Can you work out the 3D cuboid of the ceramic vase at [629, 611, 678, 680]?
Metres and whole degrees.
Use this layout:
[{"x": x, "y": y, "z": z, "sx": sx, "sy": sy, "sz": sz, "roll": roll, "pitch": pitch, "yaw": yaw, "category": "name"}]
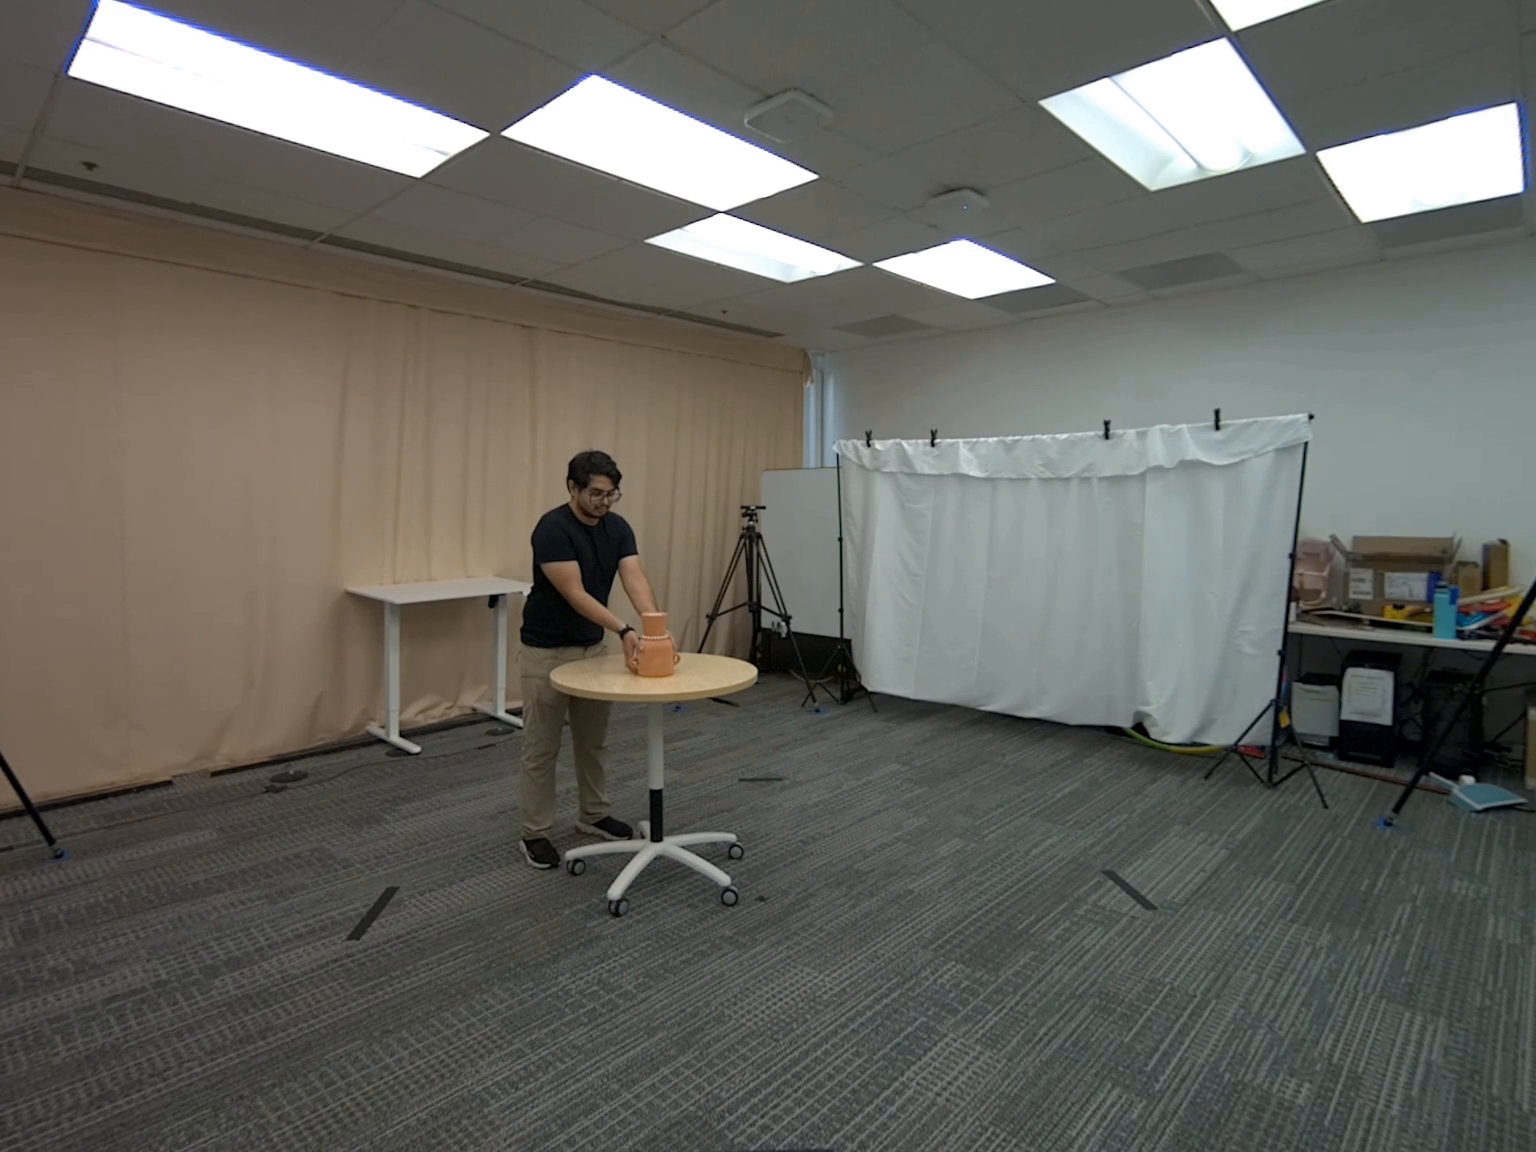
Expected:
[{"x": -0.421, "y": 0.248, "z": 3.064, "sx": 0.138, "sy": 0.219, "sz": 0.155, "roll": 1, "pitch": 4, "yaw": 24, "category": "ceramic vase"}]
